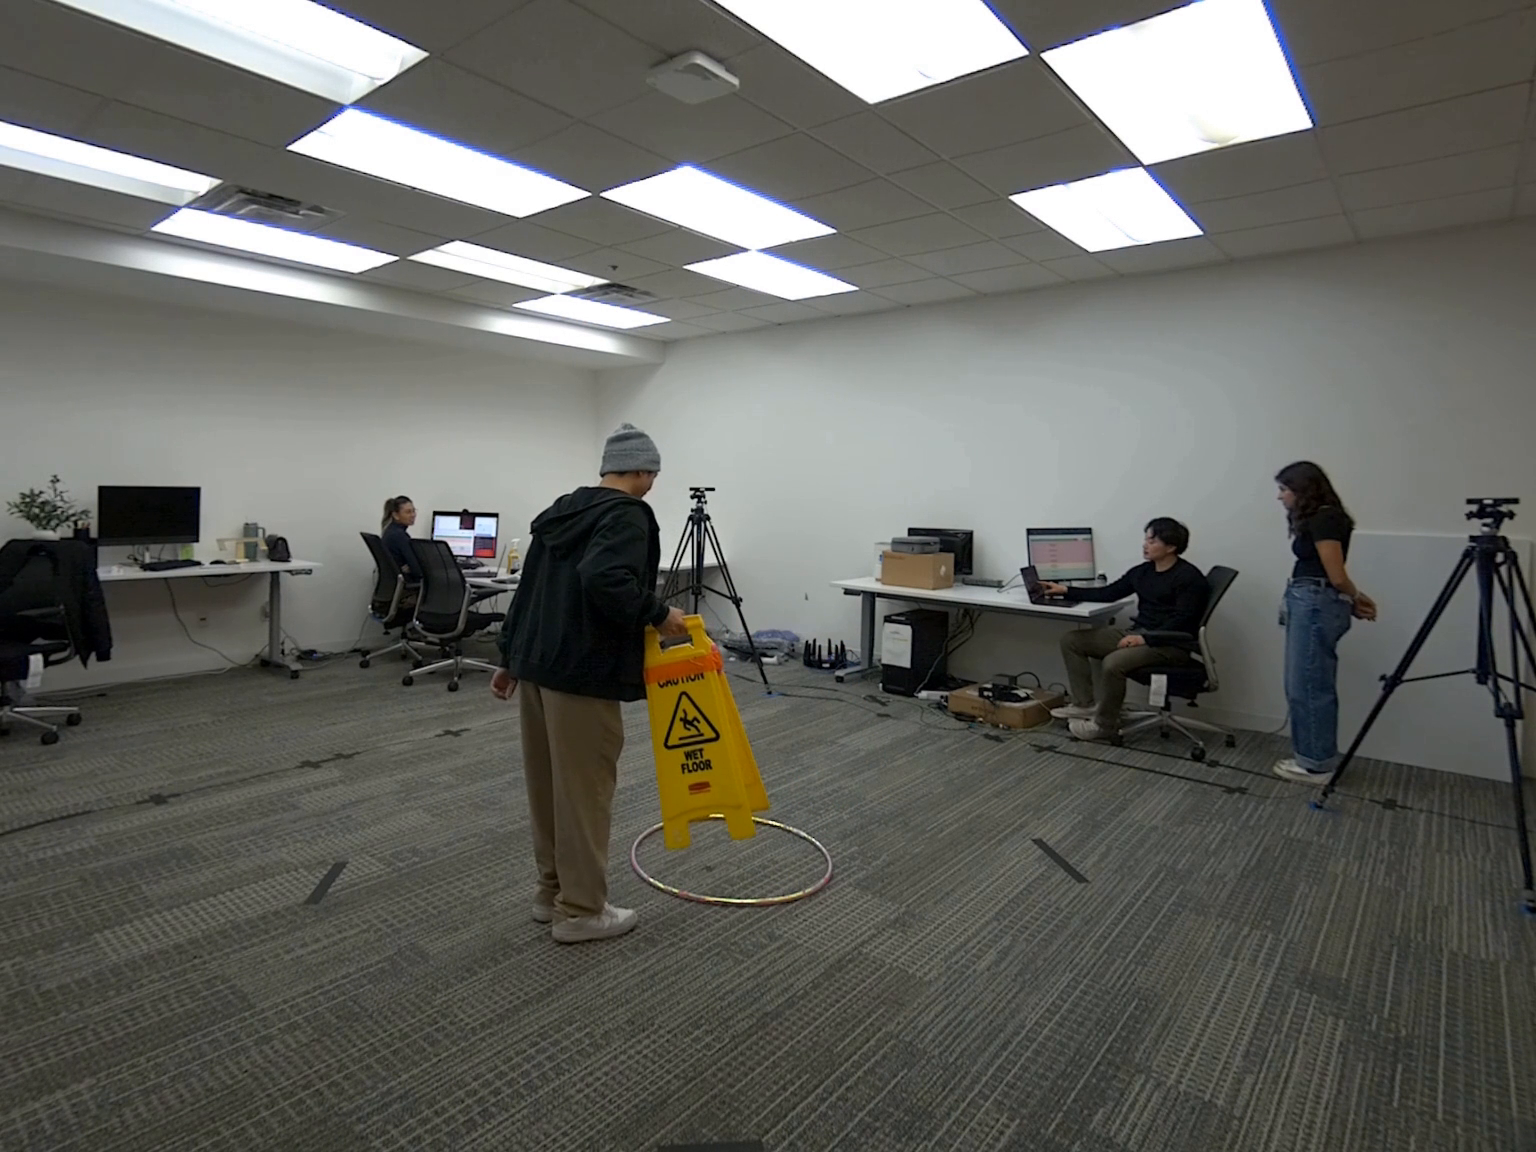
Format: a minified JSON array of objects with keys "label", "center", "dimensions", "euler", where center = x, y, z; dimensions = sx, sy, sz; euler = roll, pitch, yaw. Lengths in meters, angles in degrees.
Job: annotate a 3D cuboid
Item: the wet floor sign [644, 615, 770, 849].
[{"label":"wet floor sign","center":[-0.230,0.458,2.597],"dimensions":[0.285,0.648,0.286],"euler":[-13,-2,12]}]
